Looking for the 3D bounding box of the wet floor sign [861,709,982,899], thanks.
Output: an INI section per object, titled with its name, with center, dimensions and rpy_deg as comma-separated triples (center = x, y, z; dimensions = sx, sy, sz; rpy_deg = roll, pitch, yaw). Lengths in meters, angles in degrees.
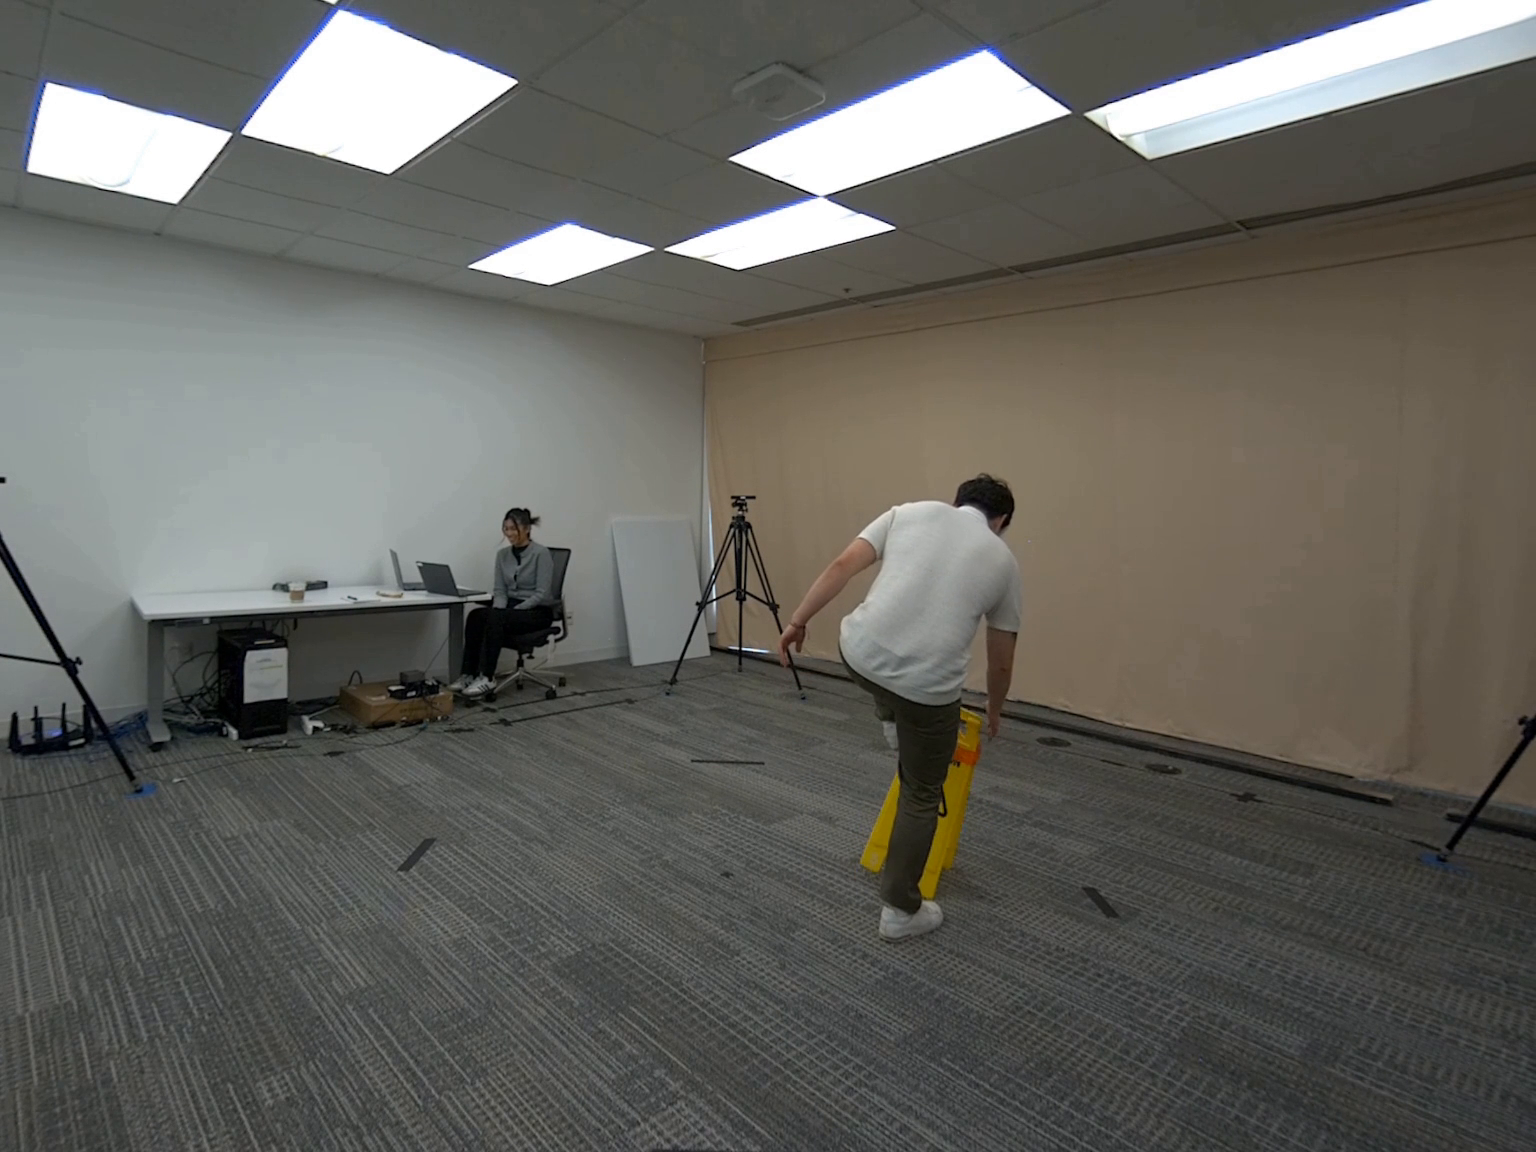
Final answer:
[wet floor sign]
center = 0.590, 0.781, 3.090
dimensions = 0.289, 0.643, 0.284
rpy_deg = 19, 10, 24
